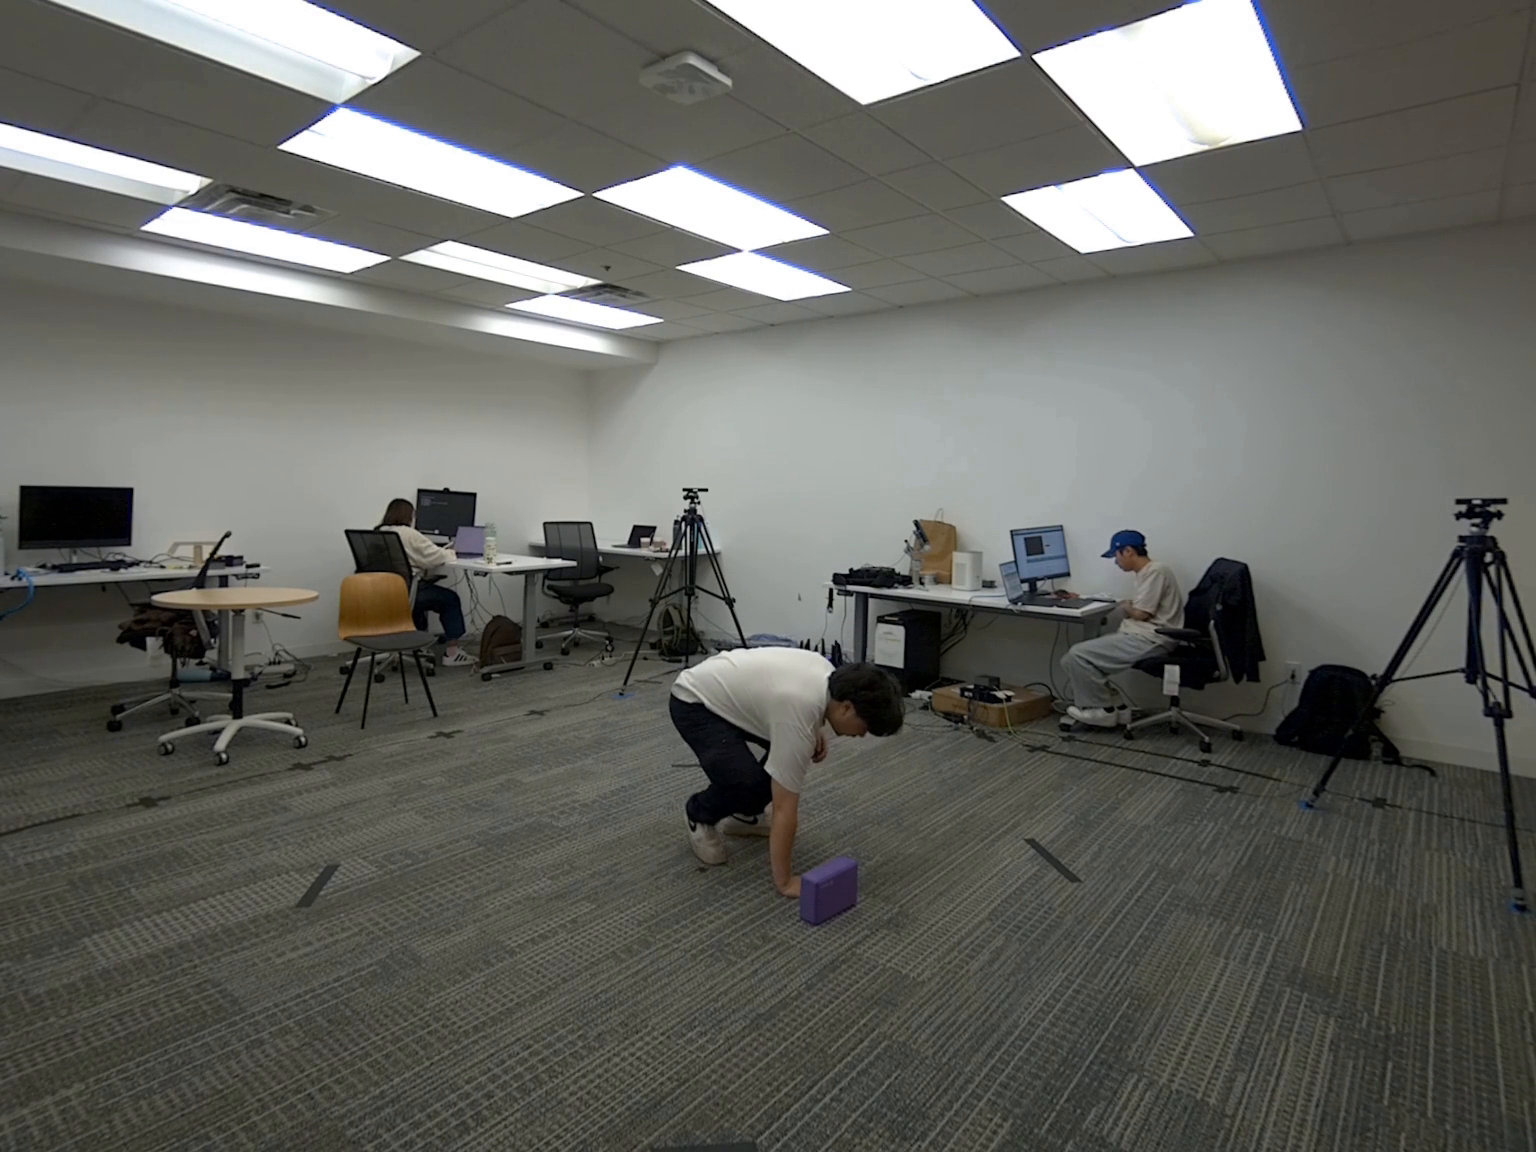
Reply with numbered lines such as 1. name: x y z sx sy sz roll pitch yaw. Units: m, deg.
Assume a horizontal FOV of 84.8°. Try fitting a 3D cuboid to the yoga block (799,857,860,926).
1. yoga block: 0.202 1.031 2.815 0.079 0.148 0.222 7 8 43
